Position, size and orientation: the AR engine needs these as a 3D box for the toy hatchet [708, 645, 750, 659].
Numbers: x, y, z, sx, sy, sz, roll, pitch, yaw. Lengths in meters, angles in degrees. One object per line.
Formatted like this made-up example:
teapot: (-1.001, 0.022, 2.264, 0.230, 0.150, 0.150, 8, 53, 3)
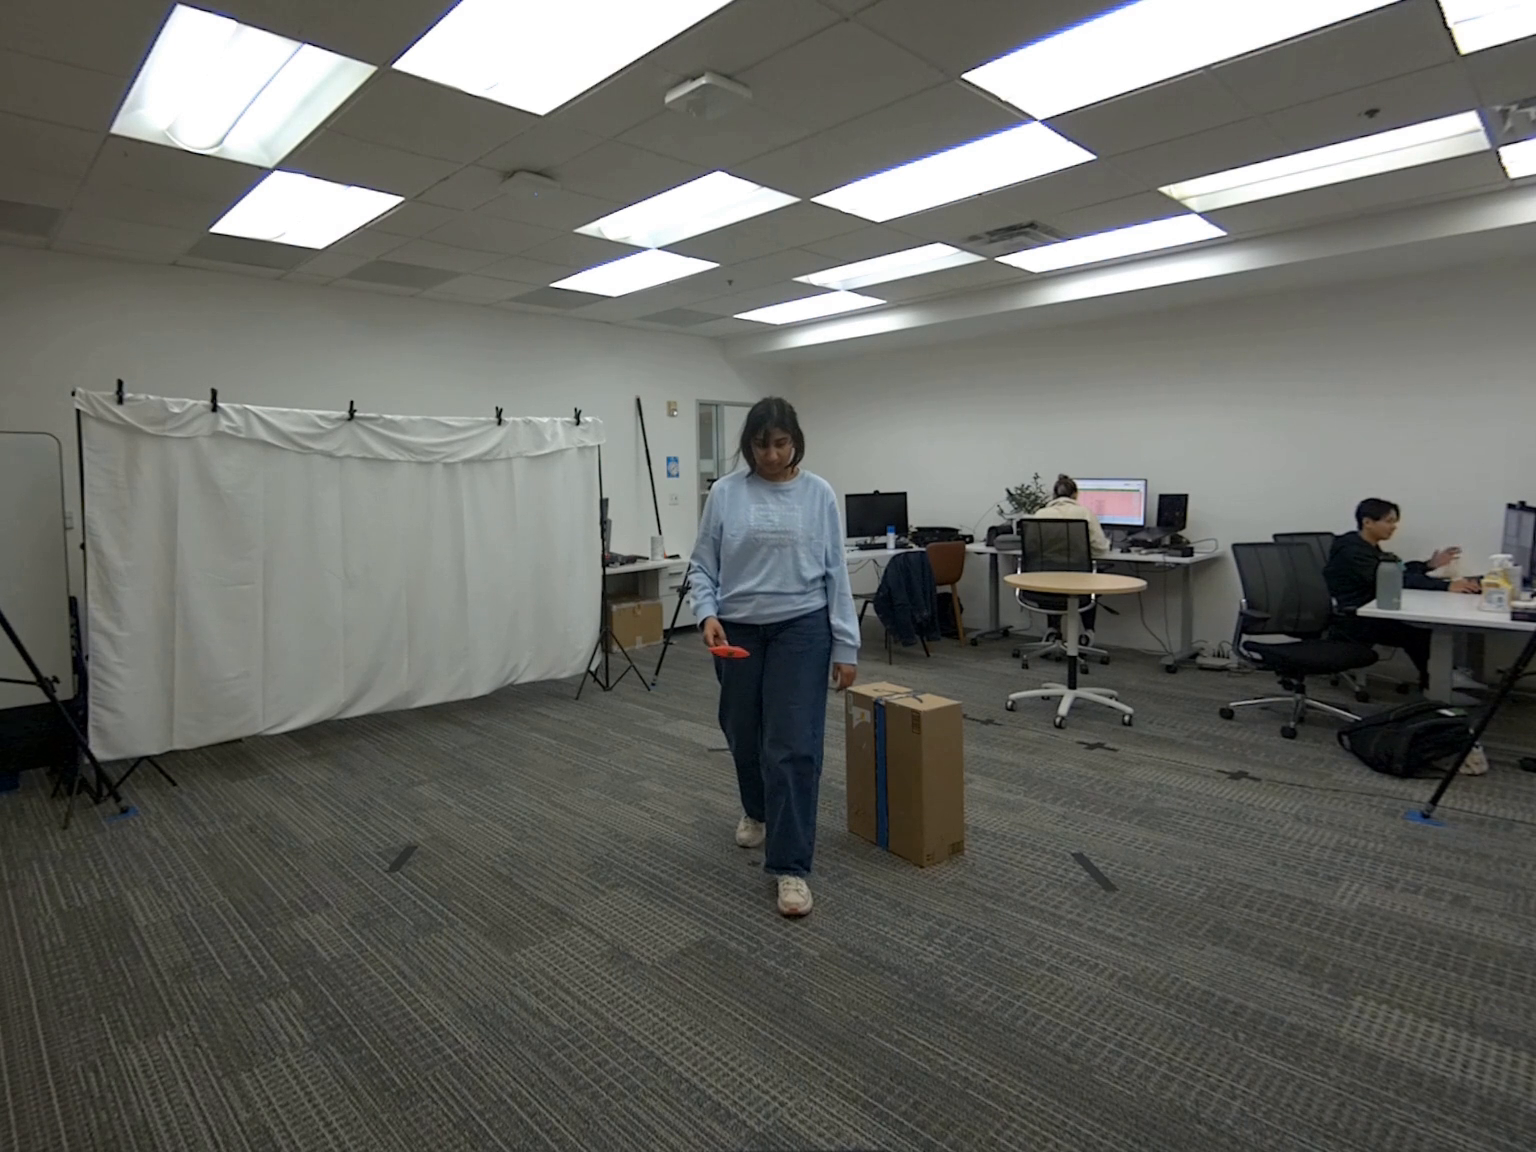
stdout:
toy hatchet: (-0.114, 0.225, 2.763, 0.131, 0.029, 0.271, 7, 7, 0)
